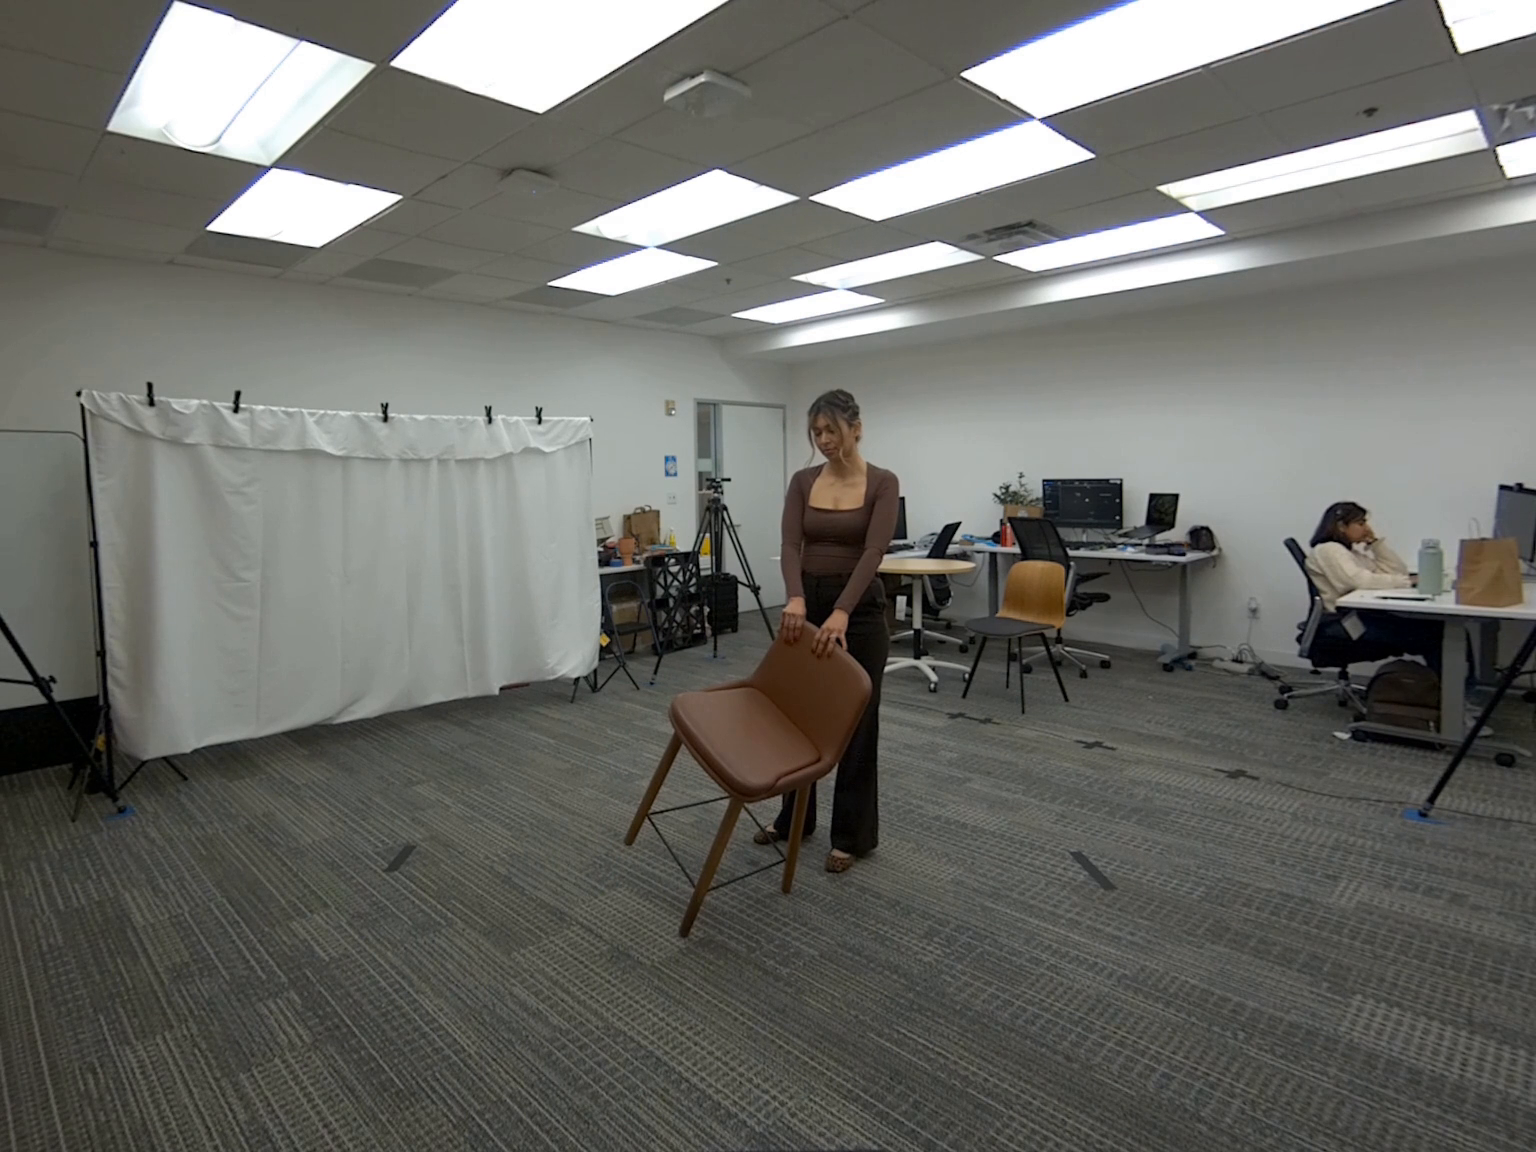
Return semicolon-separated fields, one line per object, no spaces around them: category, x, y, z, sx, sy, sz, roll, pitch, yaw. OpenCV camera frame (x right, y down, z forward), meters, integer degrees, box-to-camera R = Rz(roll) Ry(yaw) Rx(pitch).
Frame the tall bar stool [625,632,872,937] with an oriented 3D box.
tall bar stool;-0.073;0.616;2.706;0.454;0.879;0.475;0;30;-39
